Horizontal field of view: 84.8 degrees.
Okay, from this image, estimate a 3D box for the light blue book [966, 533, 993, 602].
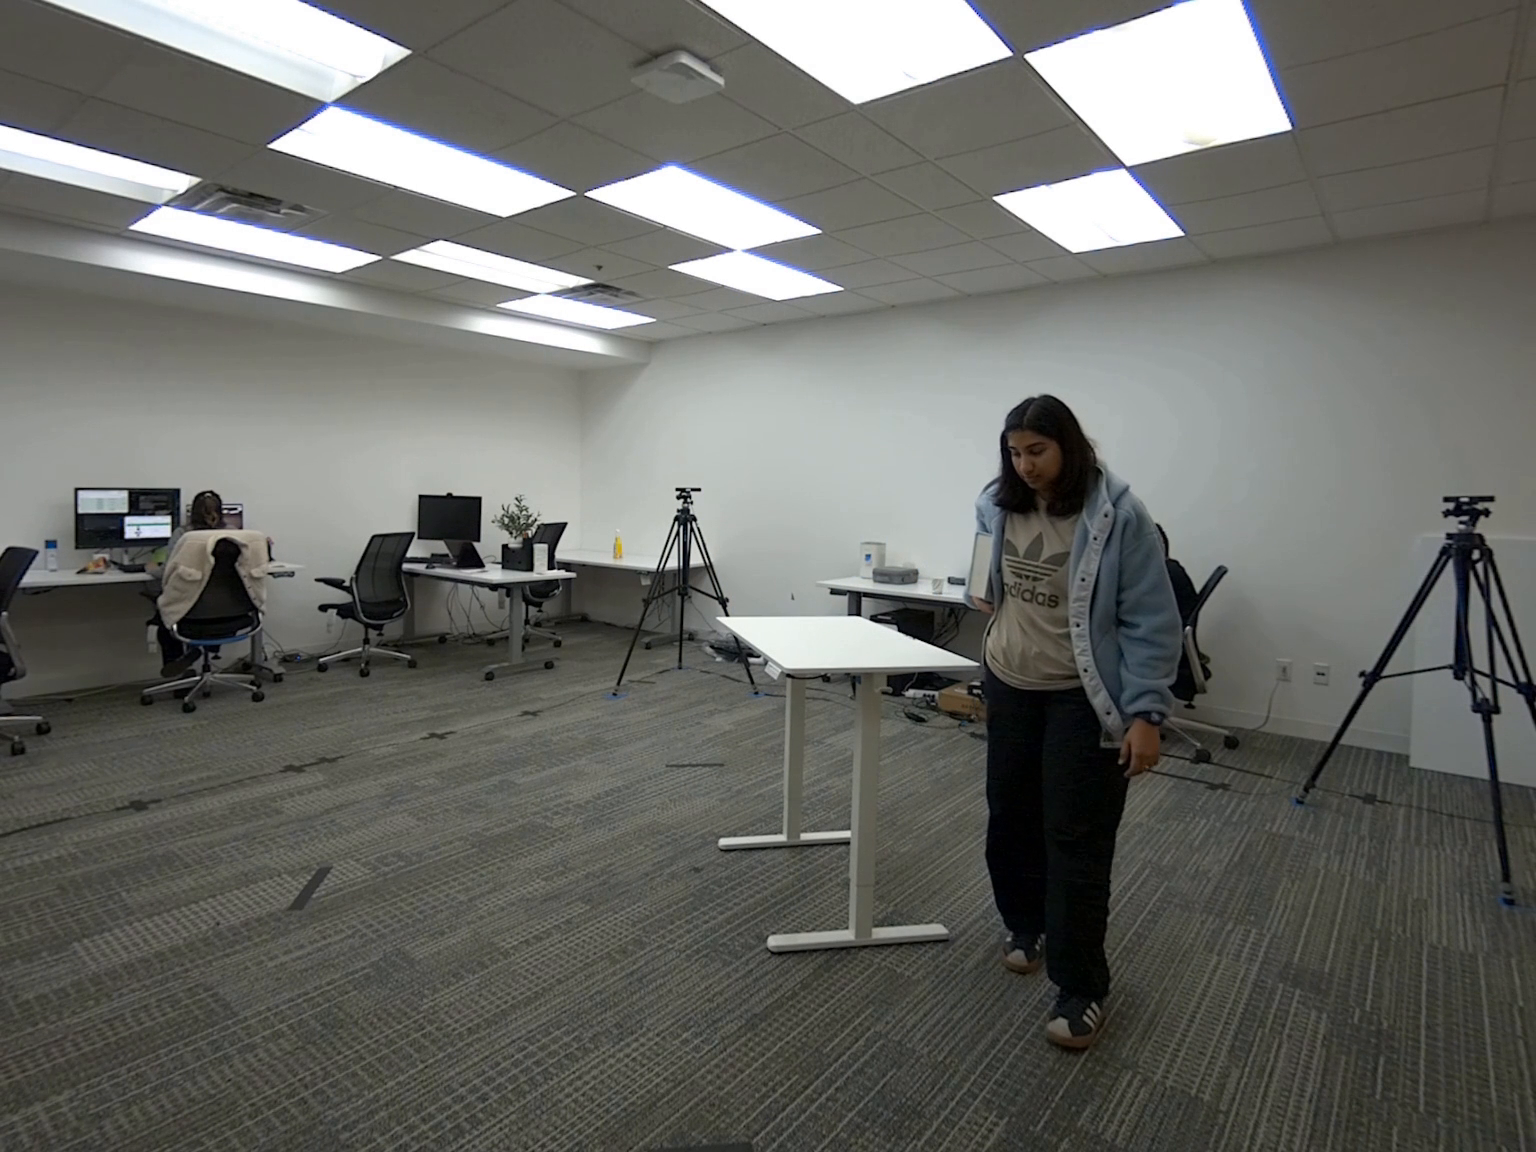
[{"bbox_3d":[0.682,-0.025,2.529,0.061,0.191,0.252,15,5,43],"label":"light blue book"}]
